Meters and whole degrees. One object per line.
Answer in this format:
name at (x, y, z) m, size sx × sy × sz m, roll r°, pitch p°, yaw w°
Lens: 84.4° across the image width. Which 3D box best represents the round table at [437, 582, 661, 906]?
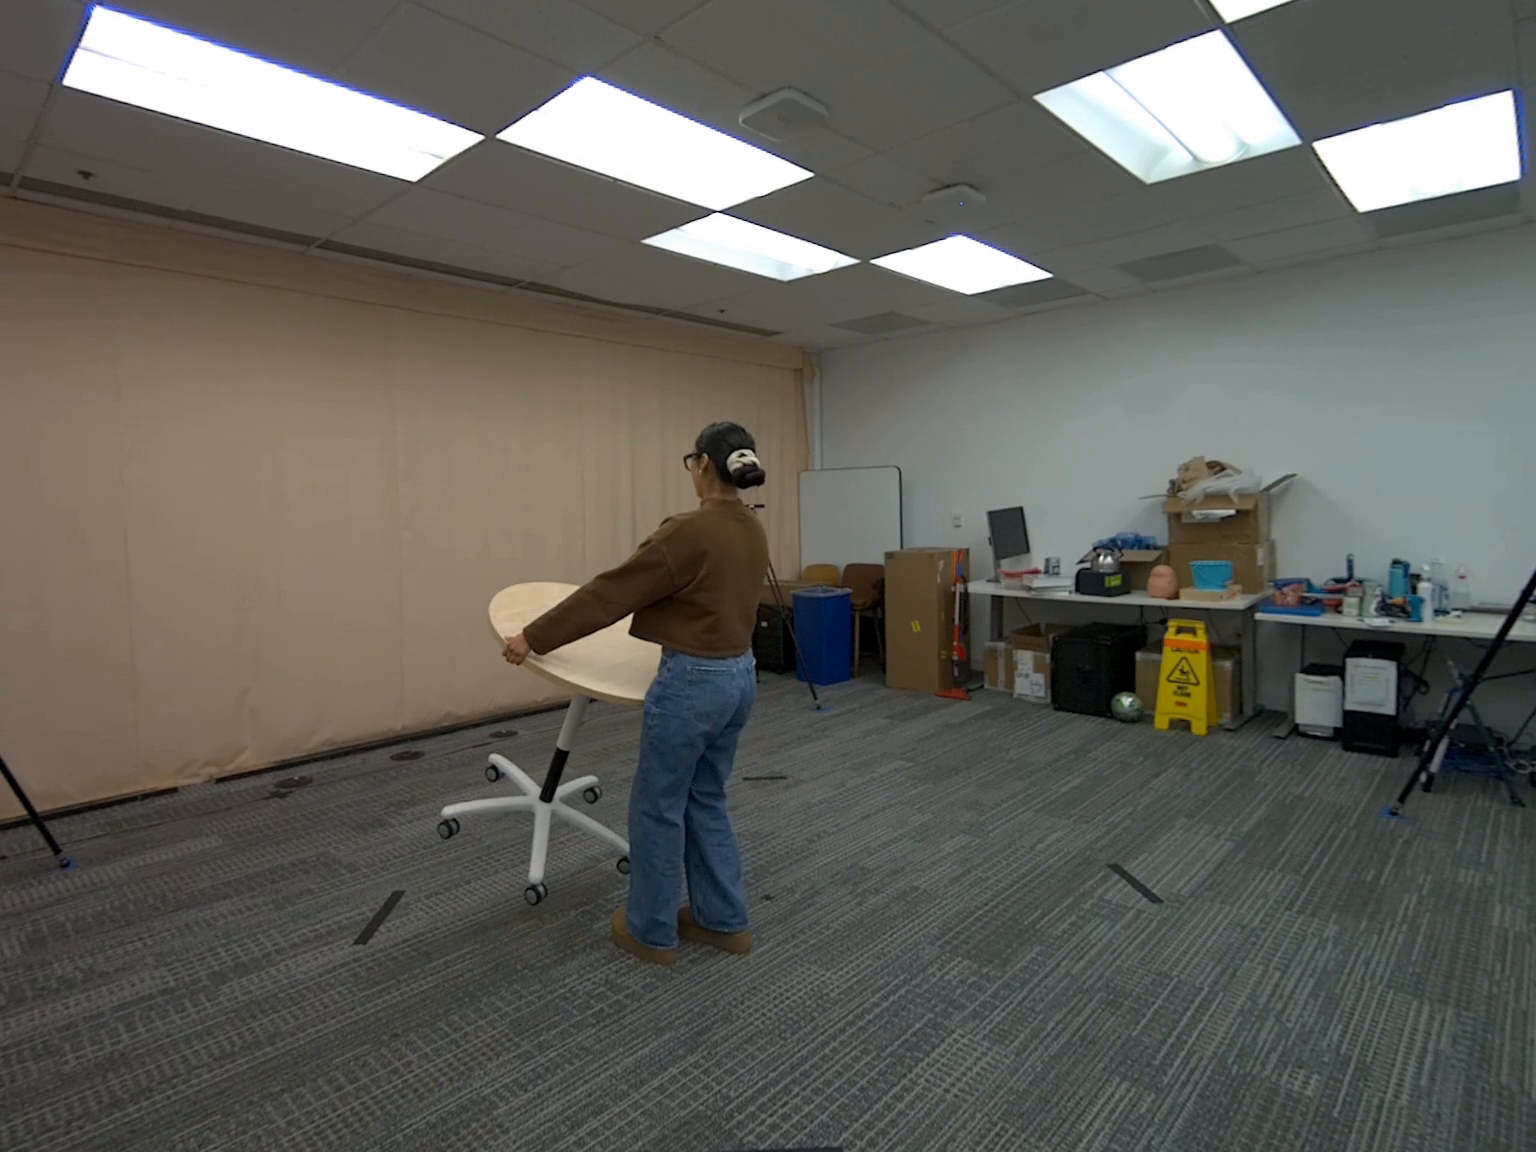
round table at (-0.702, 0.552, 2.907) m, size 0.779 × 0.784 × 0.794 m, roll 20°, pitch 15°, yaw -7°
